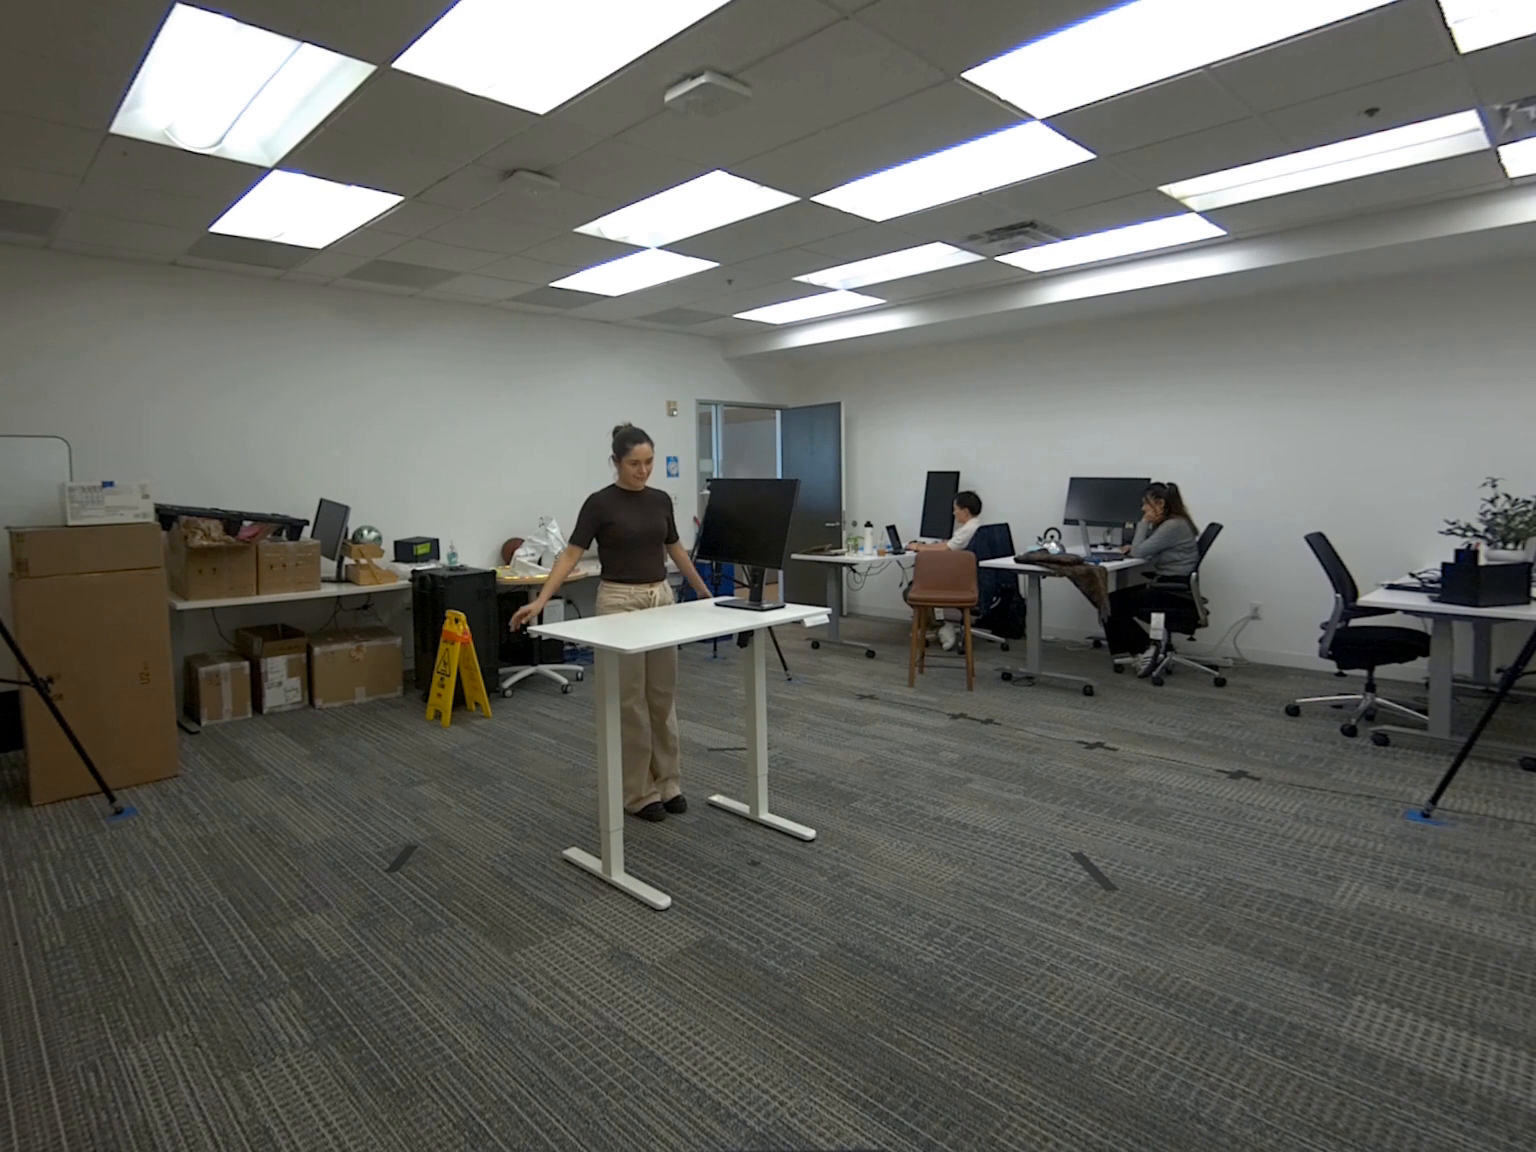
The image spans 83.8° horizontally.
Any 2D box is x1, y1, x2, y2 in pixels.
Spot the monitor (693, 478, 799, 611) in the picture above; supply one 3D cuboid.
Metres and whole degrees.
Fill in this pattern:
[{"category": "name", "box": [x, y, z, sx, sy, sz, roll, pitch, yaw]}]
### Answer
[{"category": "monitor", "box": [-0.062, -0.130, 3.449, 0.182, 0.521, 0.556, -1, 4, -40]}]
